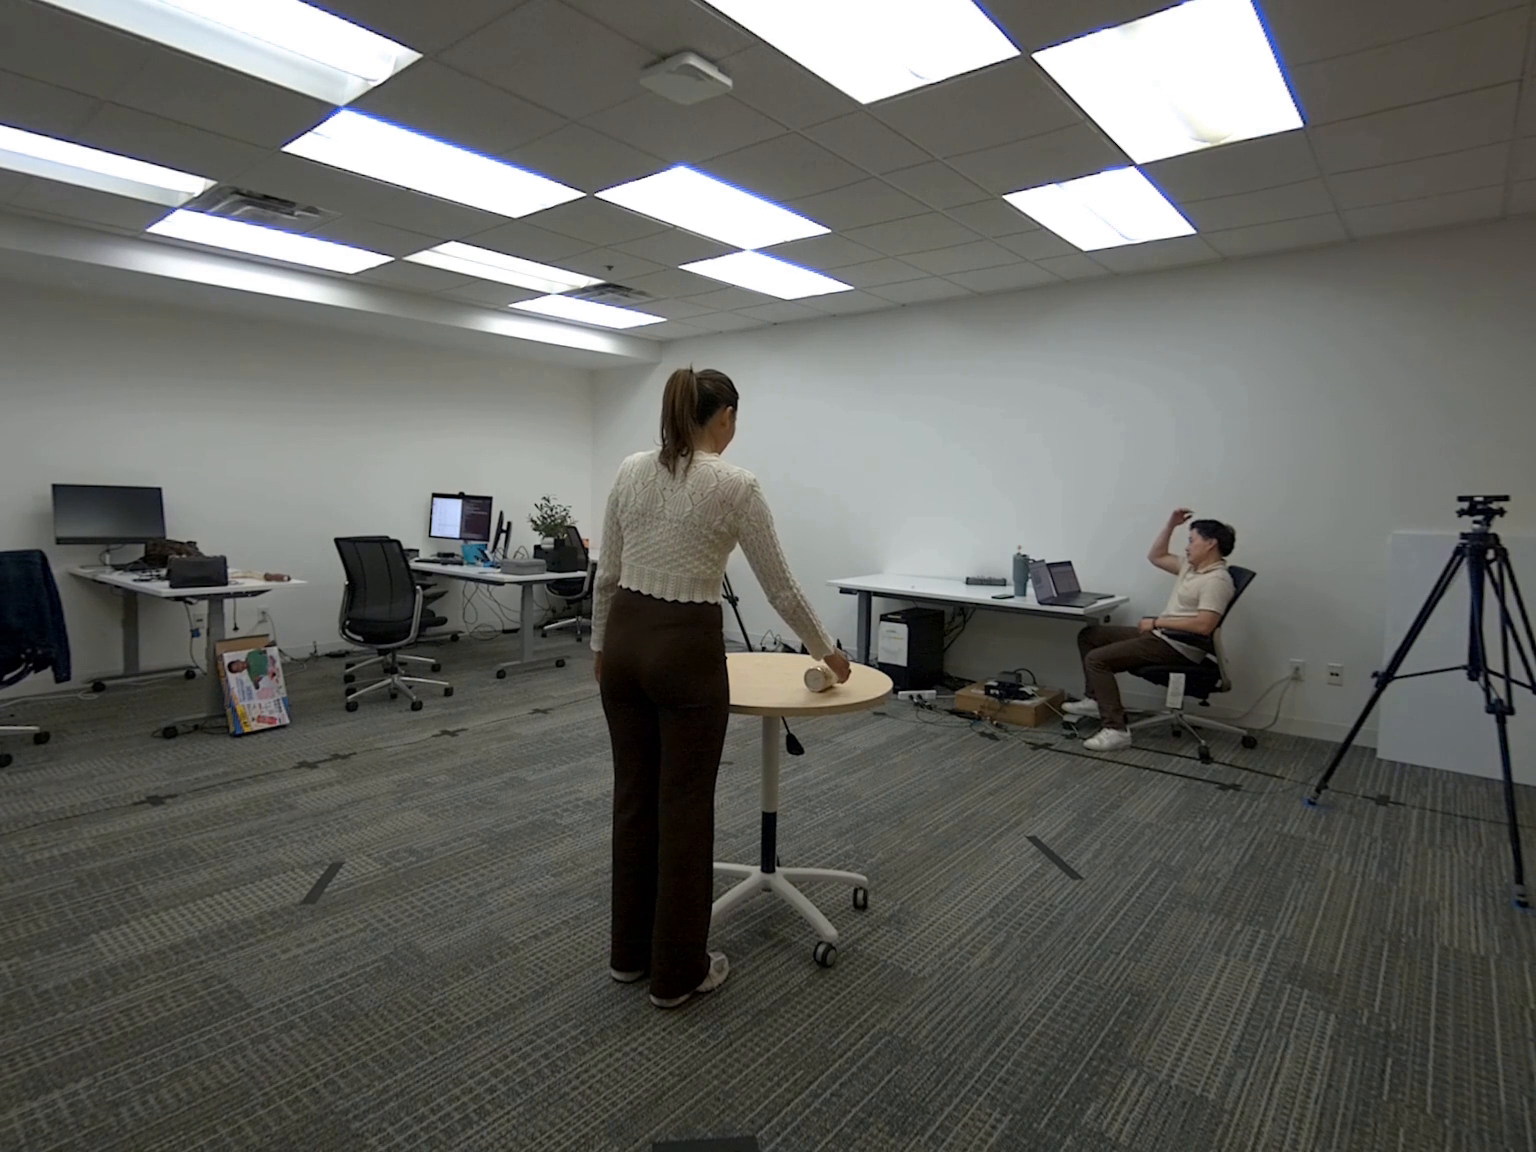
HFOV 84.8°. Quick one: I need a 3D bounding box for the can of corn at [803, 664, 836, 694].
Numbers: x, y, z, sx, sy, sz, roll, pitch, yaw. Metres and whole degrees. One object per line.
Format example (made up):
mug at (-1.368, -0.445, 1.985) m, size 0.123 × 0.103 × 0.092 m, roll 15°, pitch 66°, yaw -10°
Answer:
can of corn at (0.153, 0.302, 2.598) m, size 0.076 × 0.074 × 0.109 m, roll 2°, pitch 5°, yaw 21°
